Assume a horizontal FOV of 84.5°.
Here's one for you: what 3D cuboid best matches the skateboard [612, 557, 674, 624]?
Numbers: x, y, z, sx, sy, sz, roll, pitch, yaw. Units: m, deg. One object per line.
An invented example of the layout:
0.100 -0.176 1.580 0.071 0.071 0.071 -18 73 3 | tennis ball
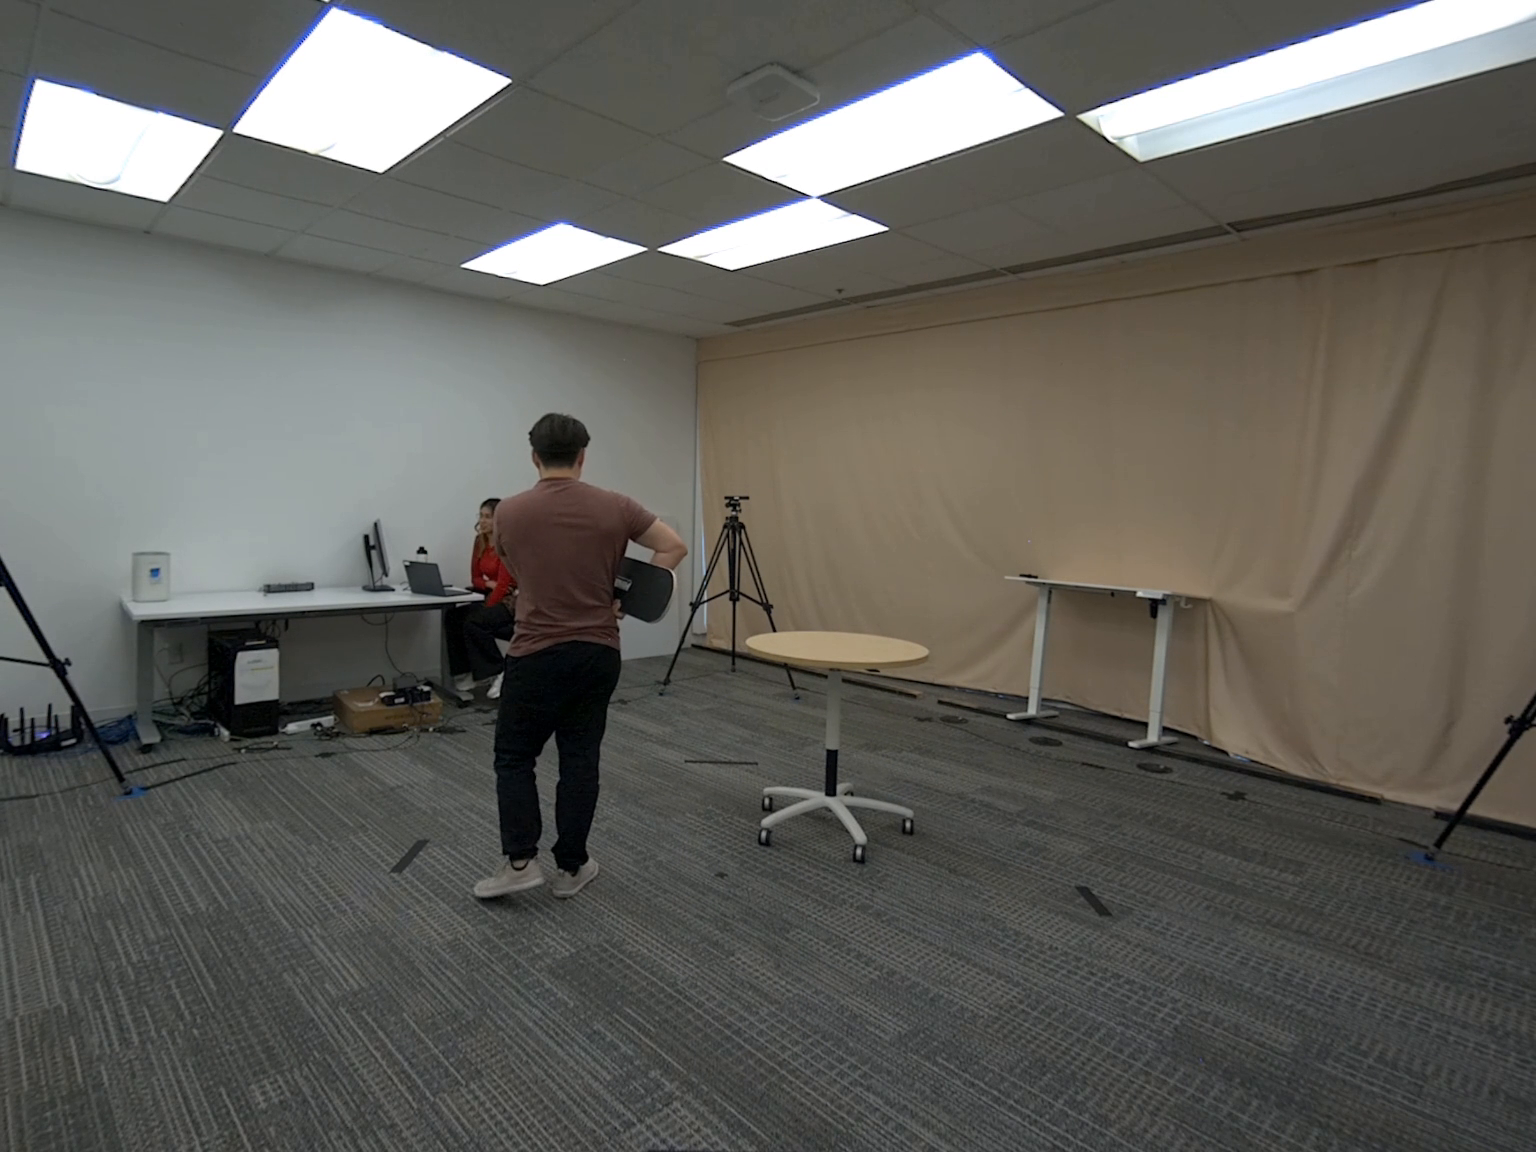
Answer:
-0.537 0.027 3.054 0.107 0.194 0.808 25 -6 -40 | skateboard
